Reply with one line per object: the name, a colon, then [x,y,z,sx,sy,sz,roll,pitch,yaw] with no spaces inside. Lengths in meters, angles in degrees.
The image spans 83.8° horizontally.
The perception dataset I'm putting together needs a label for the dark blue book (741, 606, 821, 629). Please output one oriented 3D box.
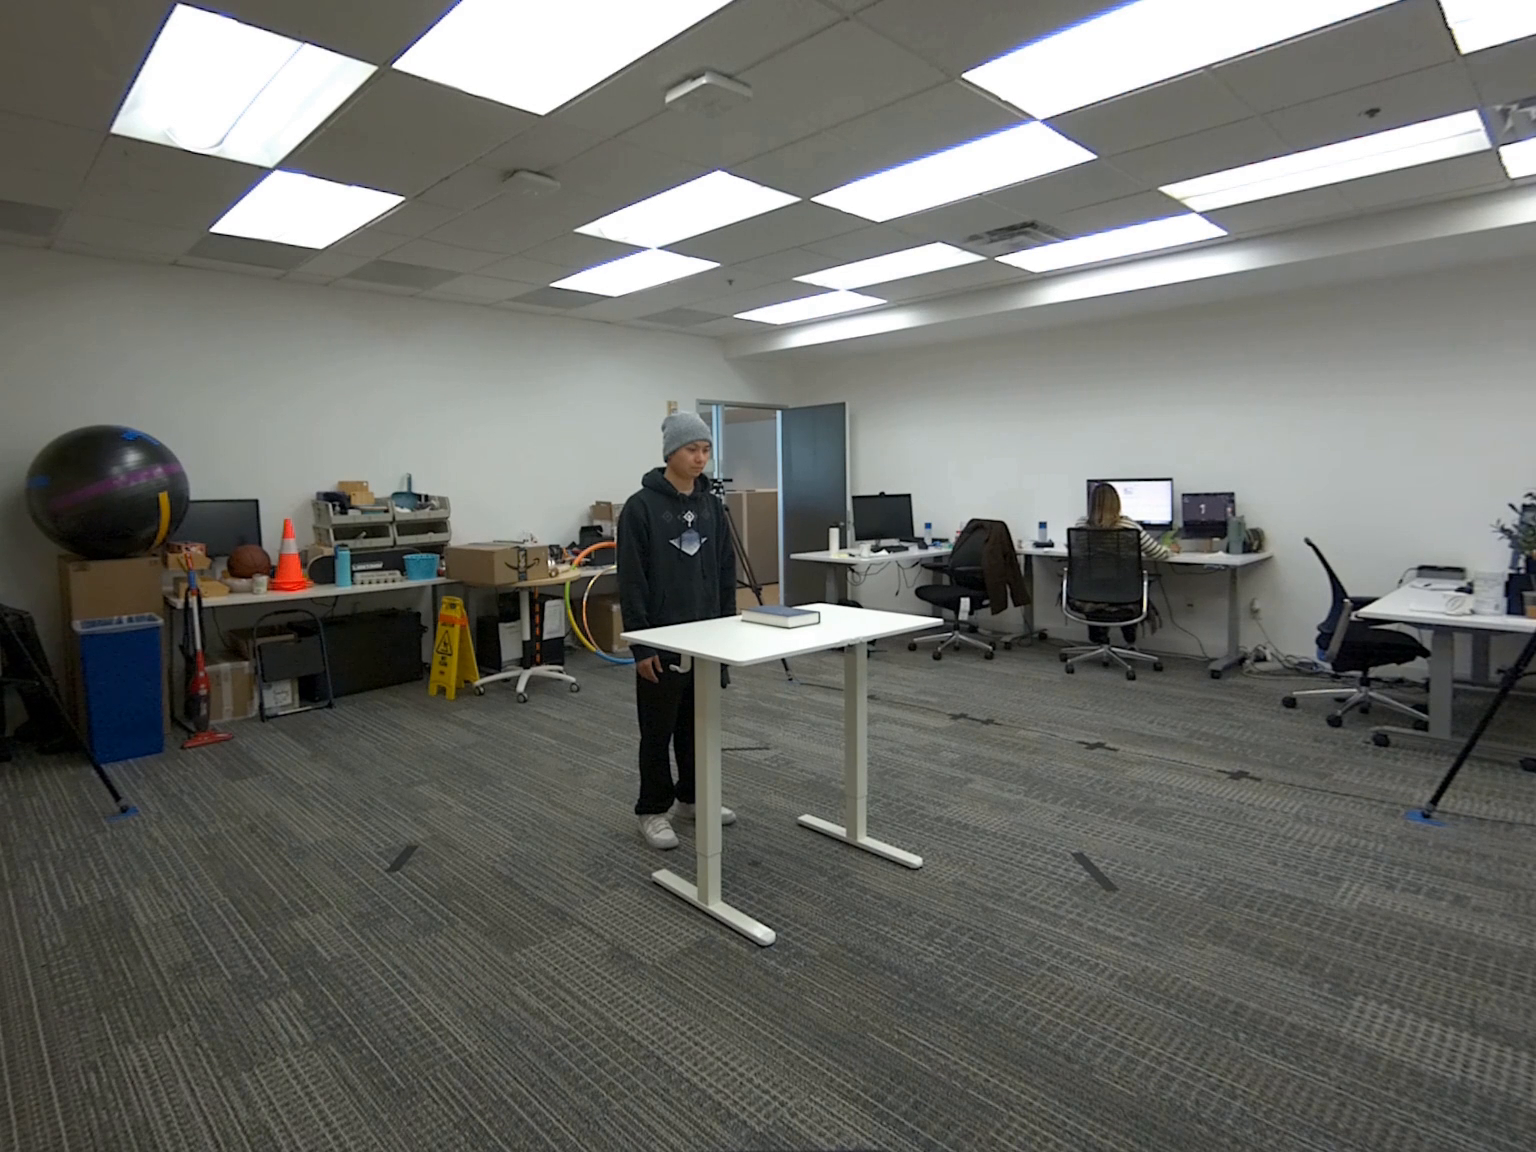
dark blue book: [0.052,0.148,3.053,0.159,0.045,0.253,-6,8,-42]
